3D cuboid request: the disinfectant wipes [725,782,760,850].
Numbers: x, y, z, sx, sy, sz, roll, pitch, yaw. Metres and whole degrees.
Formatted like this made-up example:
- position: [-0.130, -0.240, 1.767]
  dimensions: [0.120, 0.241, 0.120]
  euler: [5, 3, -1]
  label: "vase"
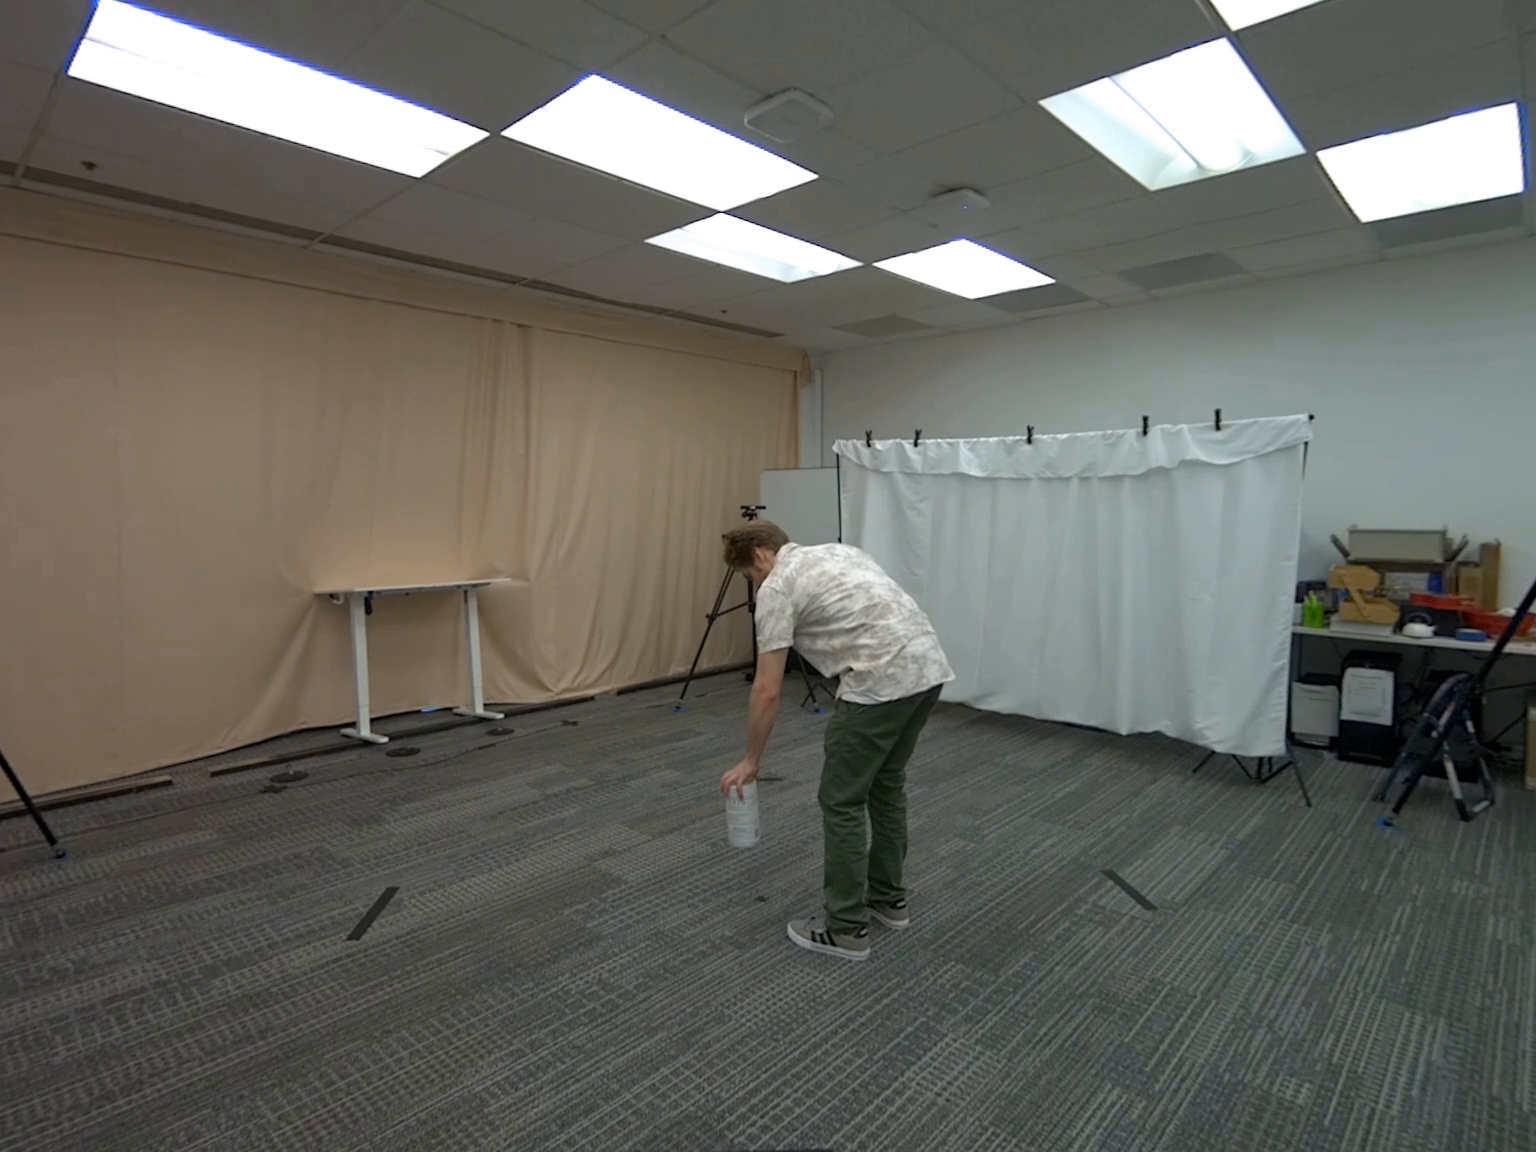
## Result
- position: [-0.078, 0.798, 2.835]
  dimensions: [0.118, 0.217, 0.118]
  euler: [-4, 5, -1]
  label: "disinfectant wipes"
